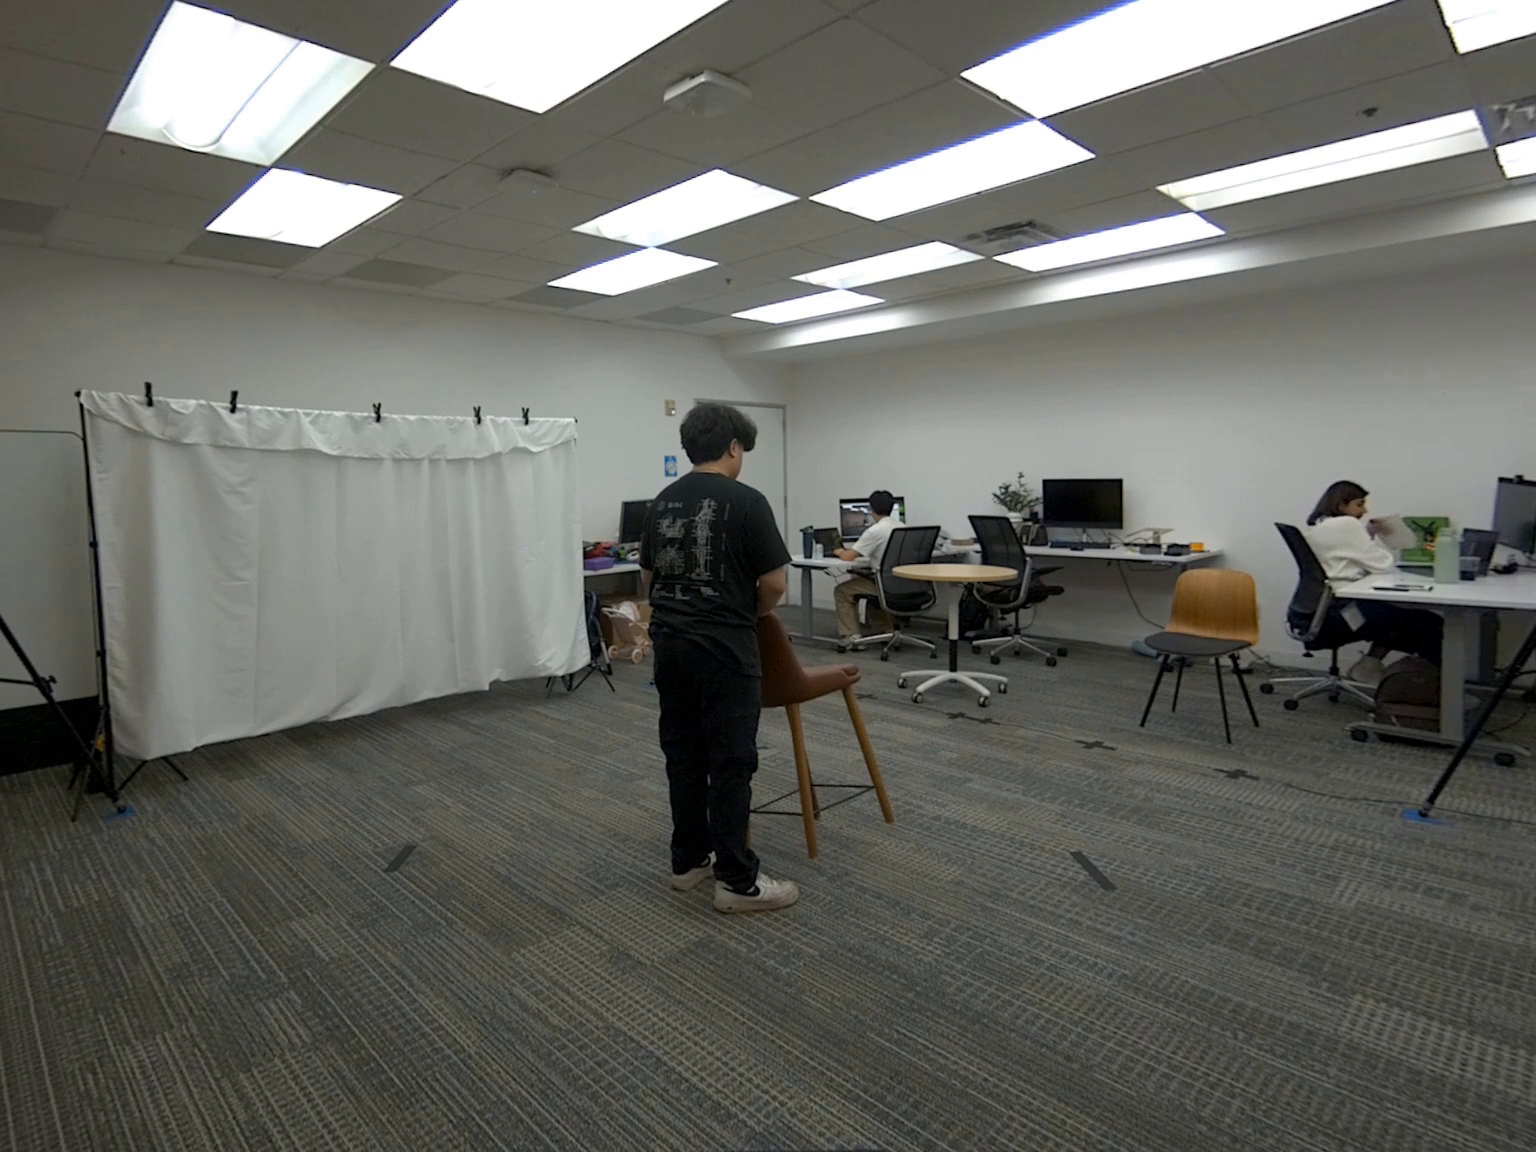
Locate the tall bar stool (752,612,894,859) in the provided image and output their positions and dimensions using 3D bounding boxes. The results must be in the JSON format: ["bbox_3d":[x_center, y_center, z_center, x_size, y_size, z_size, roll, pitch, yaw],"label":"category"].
[{"bbox_3d":[0.098,0.558,3.261,0.456,0.894,0.466,-8,-6,-43],"label":"tall bar stool"}]
